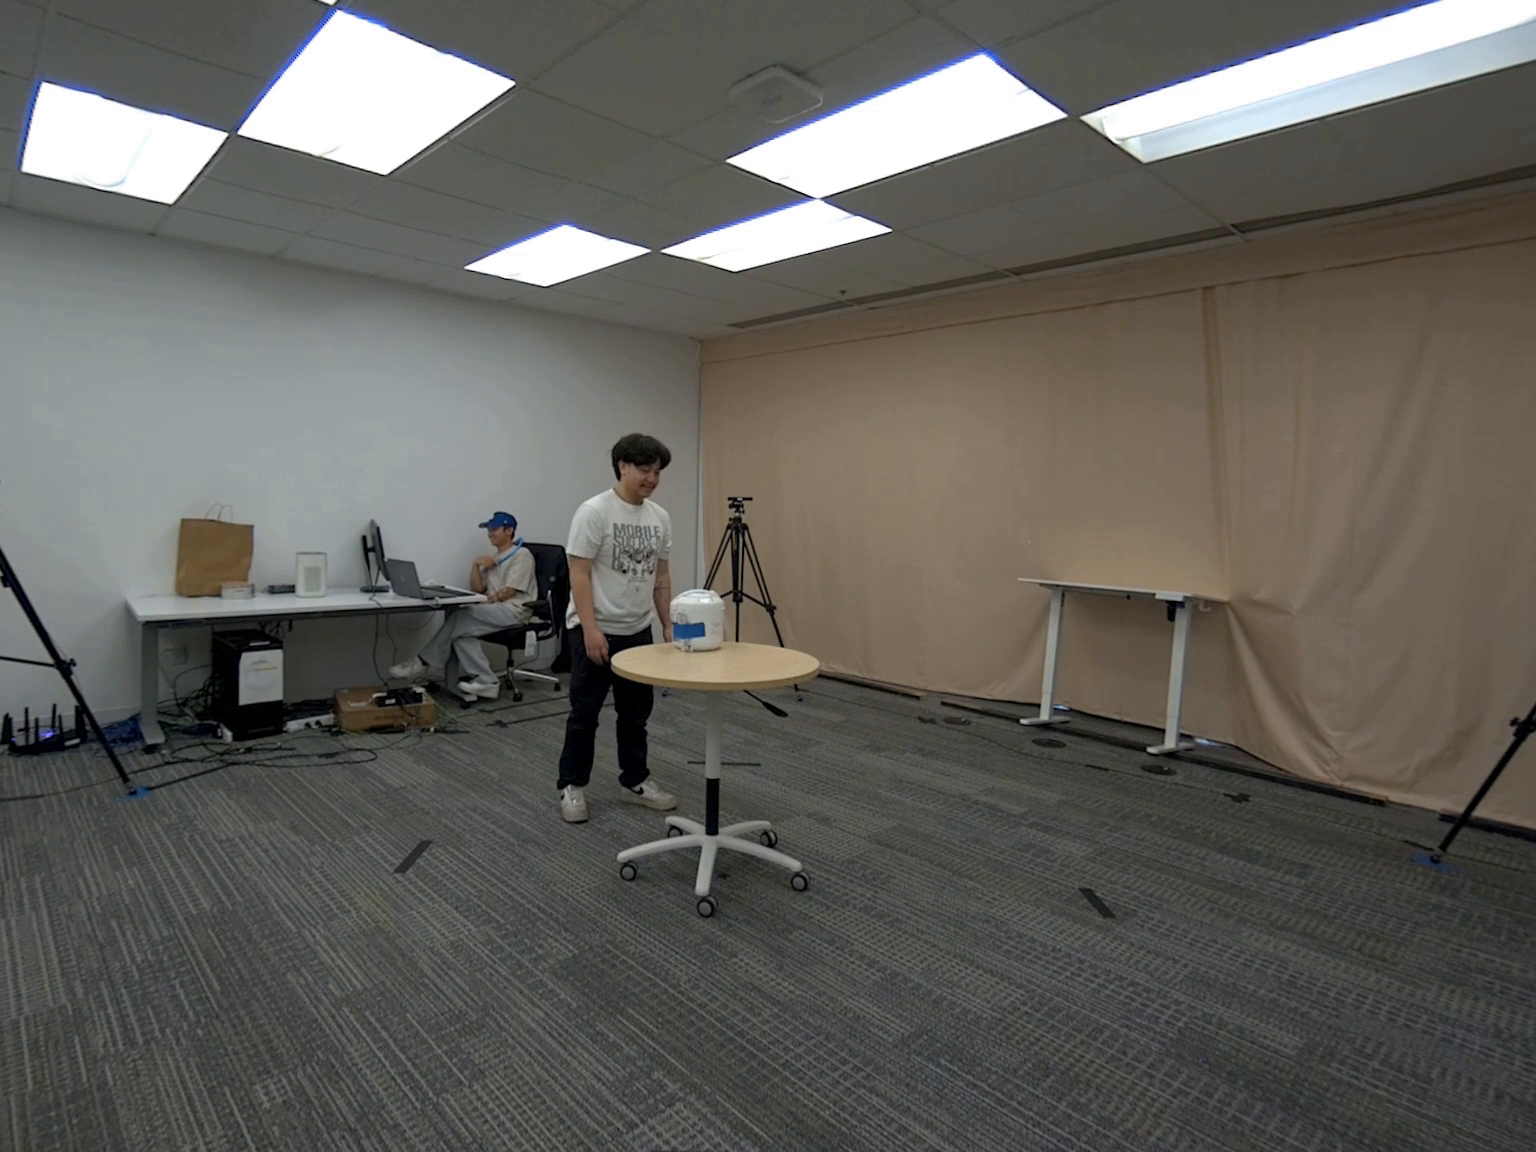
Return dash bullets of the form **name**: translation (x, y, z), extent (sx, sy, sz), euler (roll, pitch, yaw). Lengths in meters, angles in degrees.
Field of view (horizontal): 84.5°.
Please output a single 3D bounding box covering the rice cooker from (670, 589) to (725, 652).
- **rice cooker**: translation (-0.287, 0.170, 3.339), extent (0.217, 0.232, 0.221), euler (1, 4, -22)
